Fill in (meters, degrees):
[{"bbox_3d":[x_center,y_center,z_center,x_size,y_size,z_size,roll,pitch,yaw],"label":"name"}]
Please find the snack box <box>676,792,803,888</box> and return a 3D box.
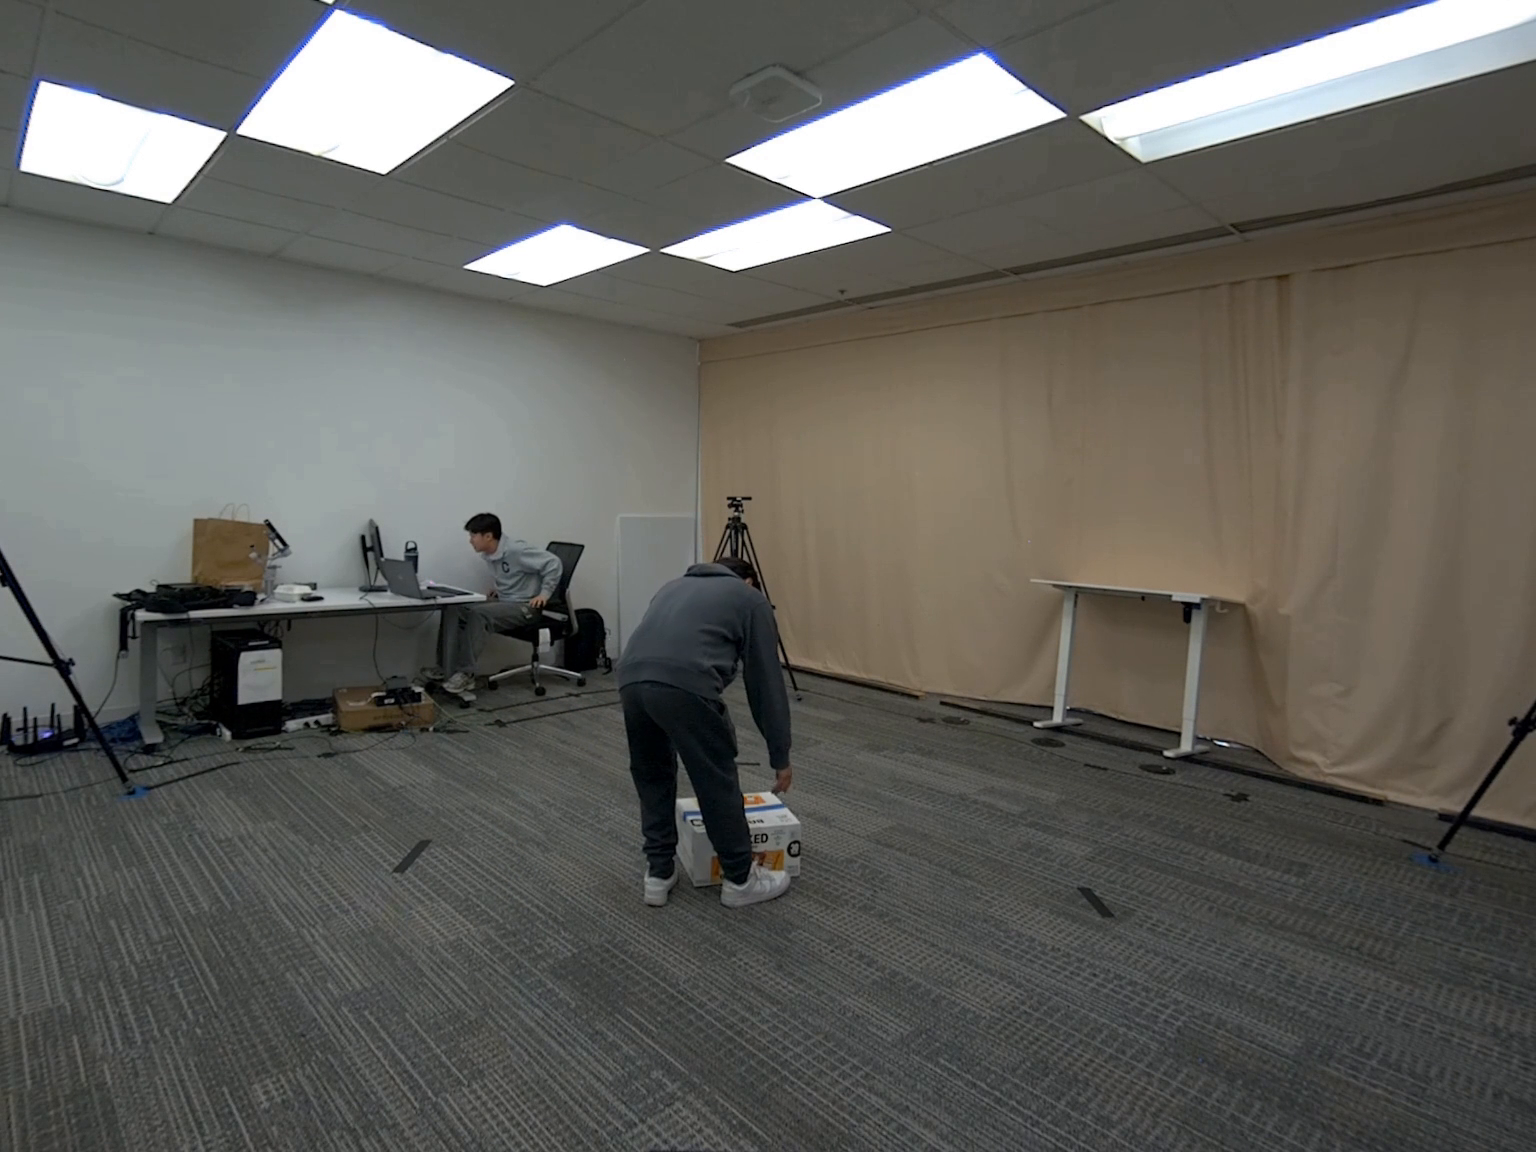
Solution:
[{"bbox_3d":[-0.131,0.995,3.207,0.400,0.205,0.346,0,4,-18],"label":"snack box"}]
